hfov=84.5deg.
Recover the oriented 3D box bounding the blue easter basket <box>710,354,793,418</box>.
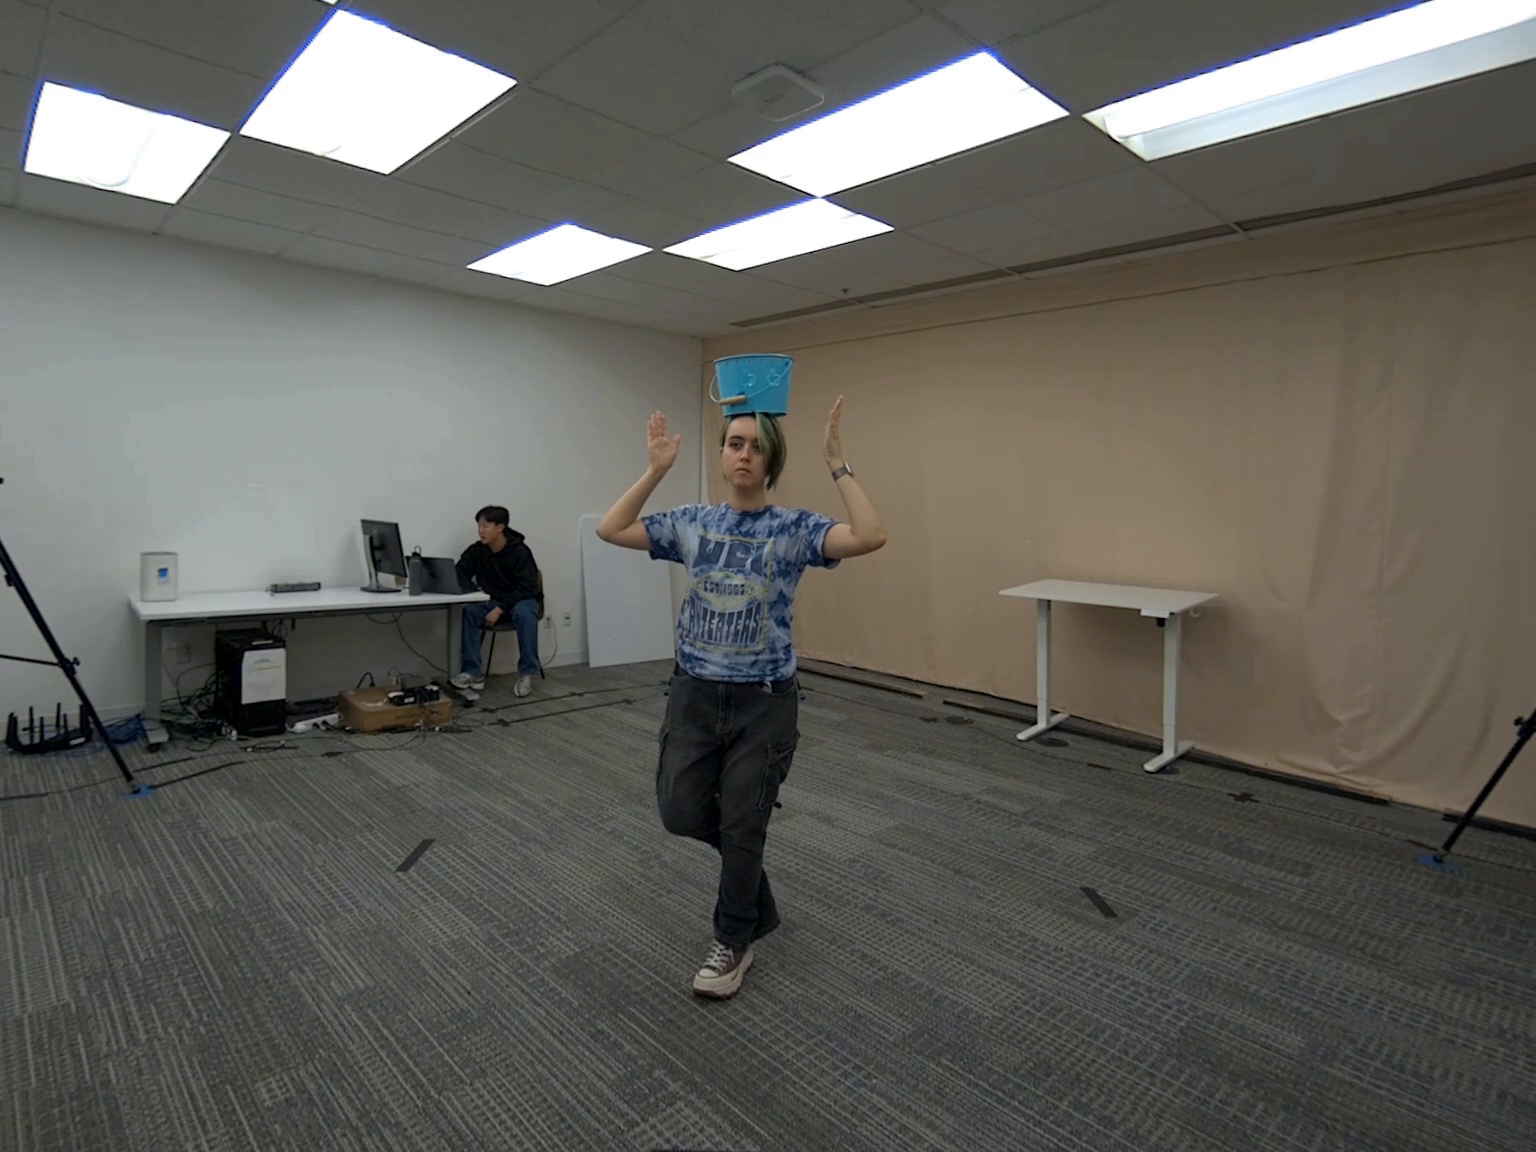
[{"bbox_3d":[-0.044,-0.526,2.372,0.243,0.155,0.244,-1,4,-1],"label":"blue easter basket"}]
